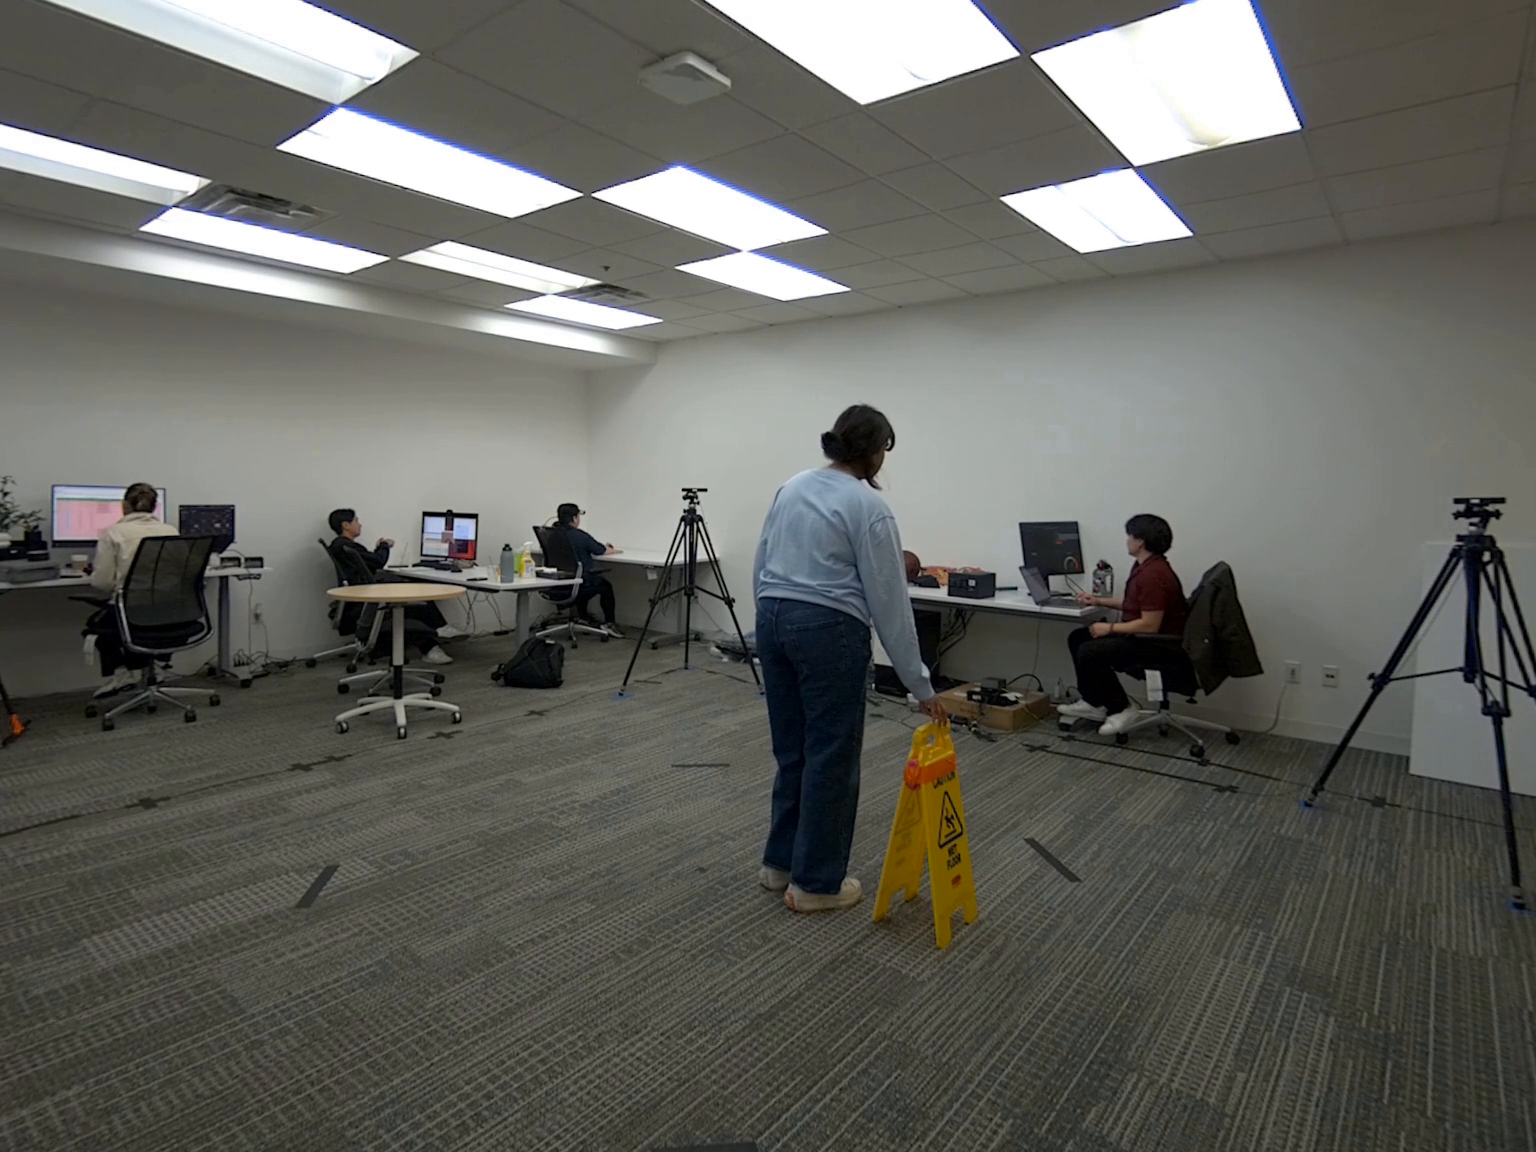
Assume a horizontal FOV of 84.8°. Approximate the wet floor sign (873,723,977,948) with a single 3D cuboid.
[{"bbox_3d":[0.518,0.797,2.767,0.299,0.644,0.274,5,5,39],"label":"wet floor sign"}]
